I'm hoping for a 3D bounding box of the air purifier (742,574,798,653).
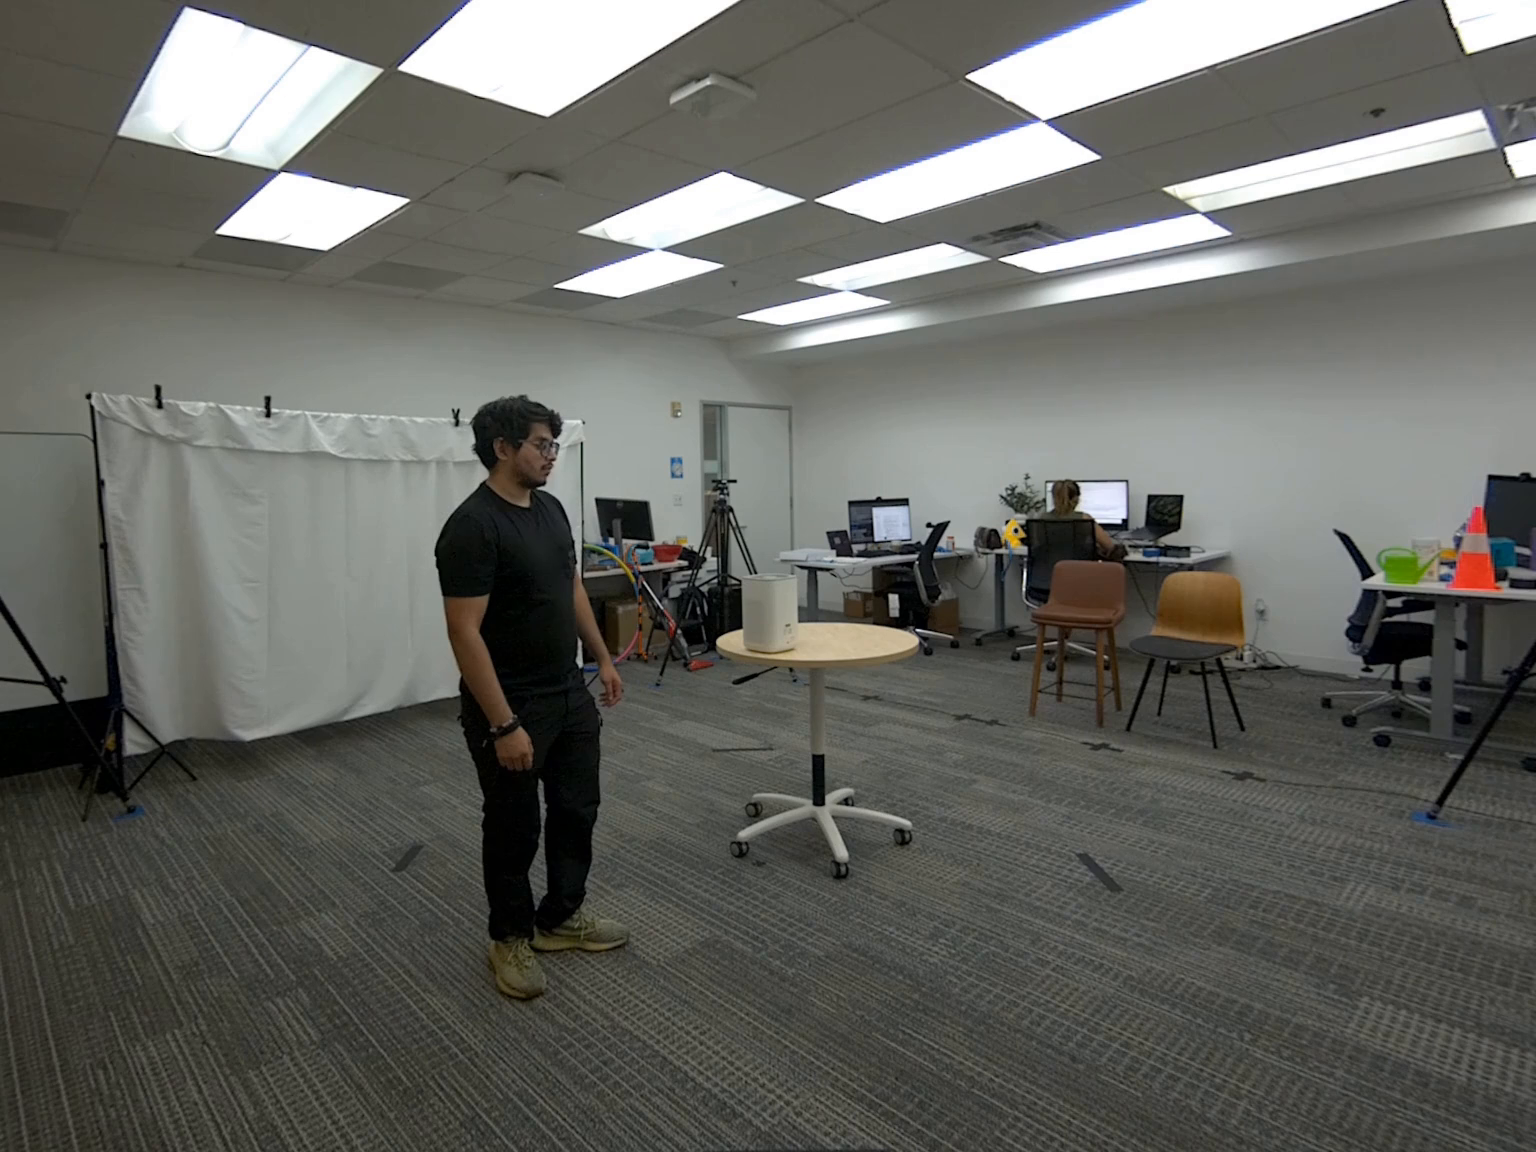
[{"bbox_3d":[0.014,0.131,3.086,0.177,0.264,0.166,2,6,45],"label":"air purifier"}]
